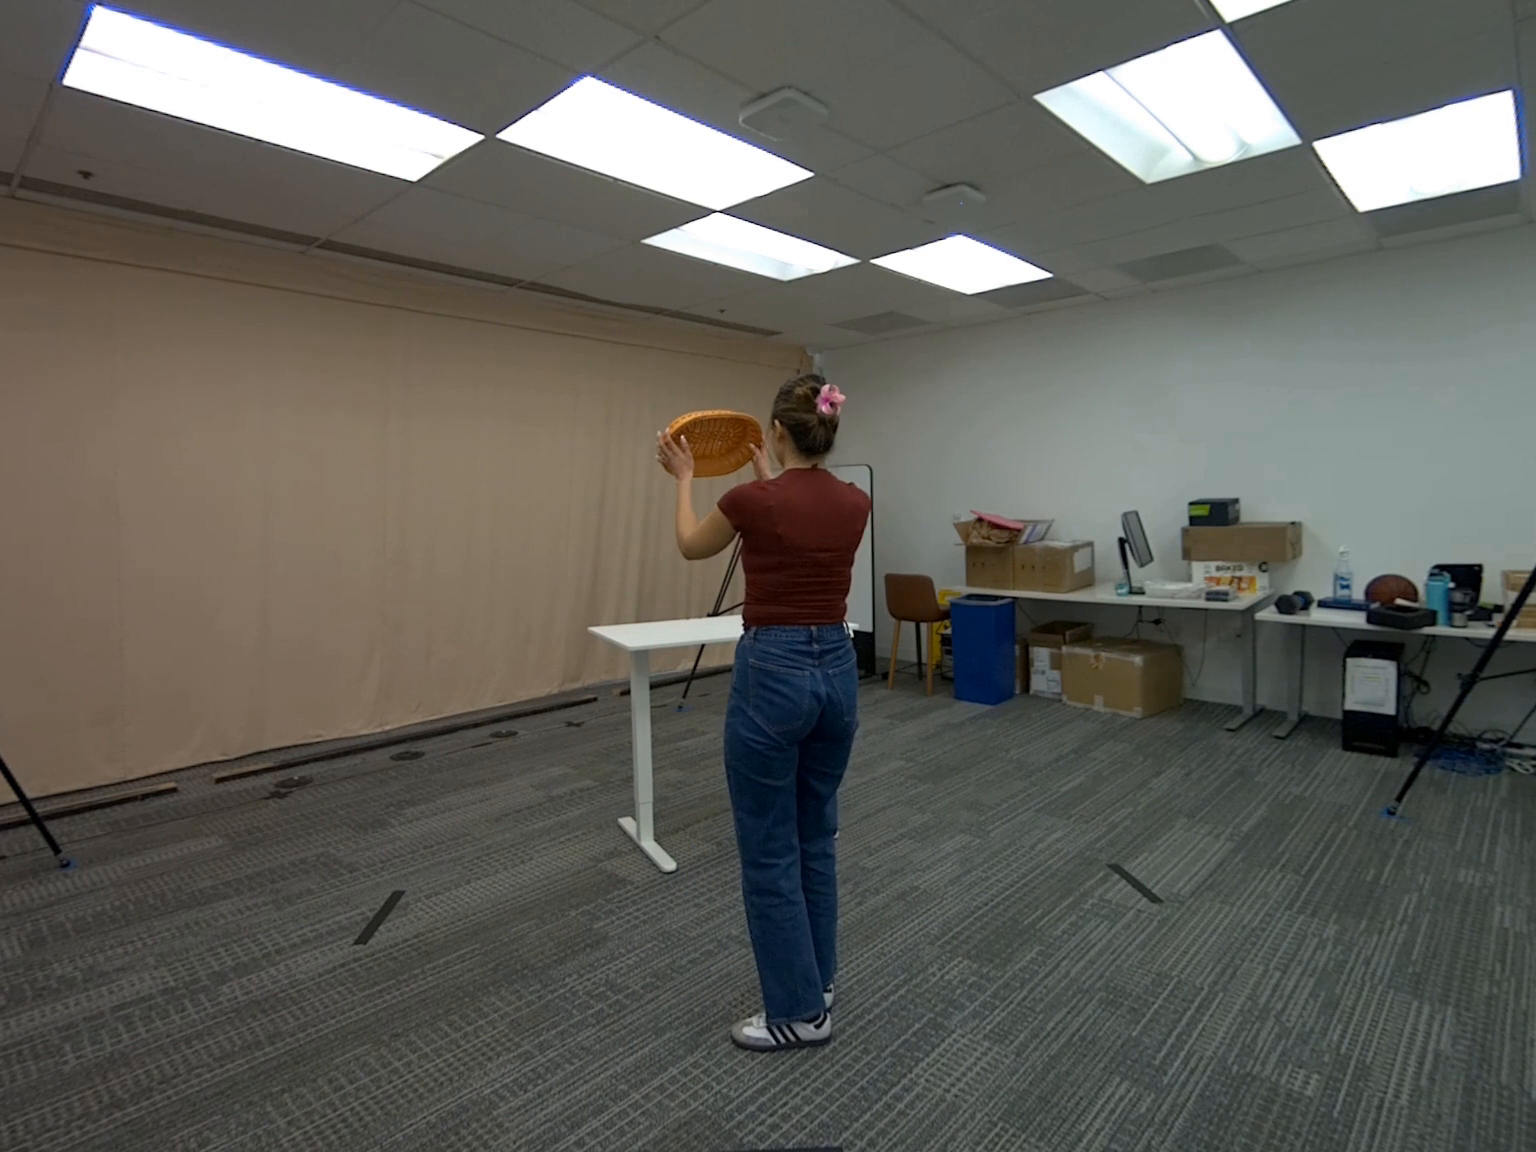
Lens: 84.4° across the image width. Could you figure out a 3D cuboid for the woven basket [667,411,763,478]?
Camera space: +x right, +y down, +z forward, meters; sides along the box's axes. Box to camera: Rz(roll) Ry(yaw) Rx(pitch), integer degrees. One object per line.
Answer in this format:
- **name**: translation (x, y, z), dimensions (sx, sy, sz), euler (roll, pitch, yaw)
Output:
- **woven basket**: translation (-0.190, -0.425, 2.613), dimensions (0.340, 0.252, 0.076), euler (-4, 48, -34)
